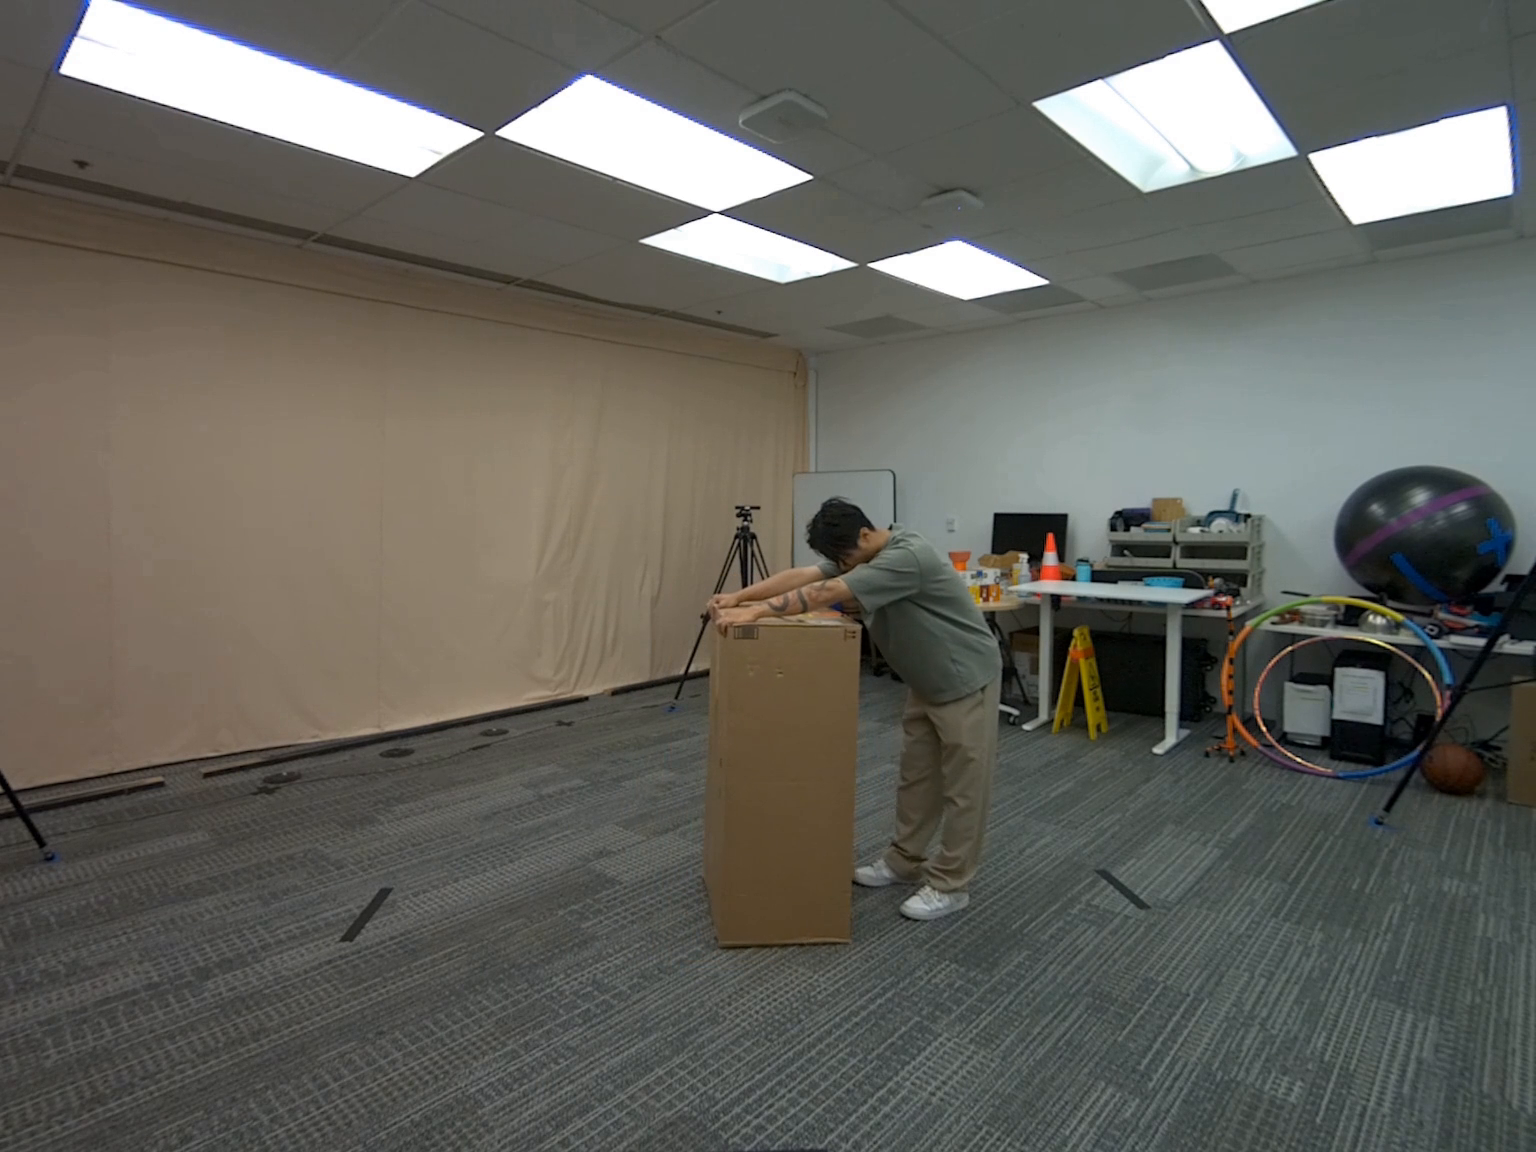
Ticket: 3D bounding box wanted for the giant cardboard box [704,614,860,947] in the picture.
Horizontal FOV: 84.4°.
[{"bbox_3d":[0.033,0.635,2.911,0.422,1.024,0.584,2,3,-9],"label":"giant cardboard box"}]
